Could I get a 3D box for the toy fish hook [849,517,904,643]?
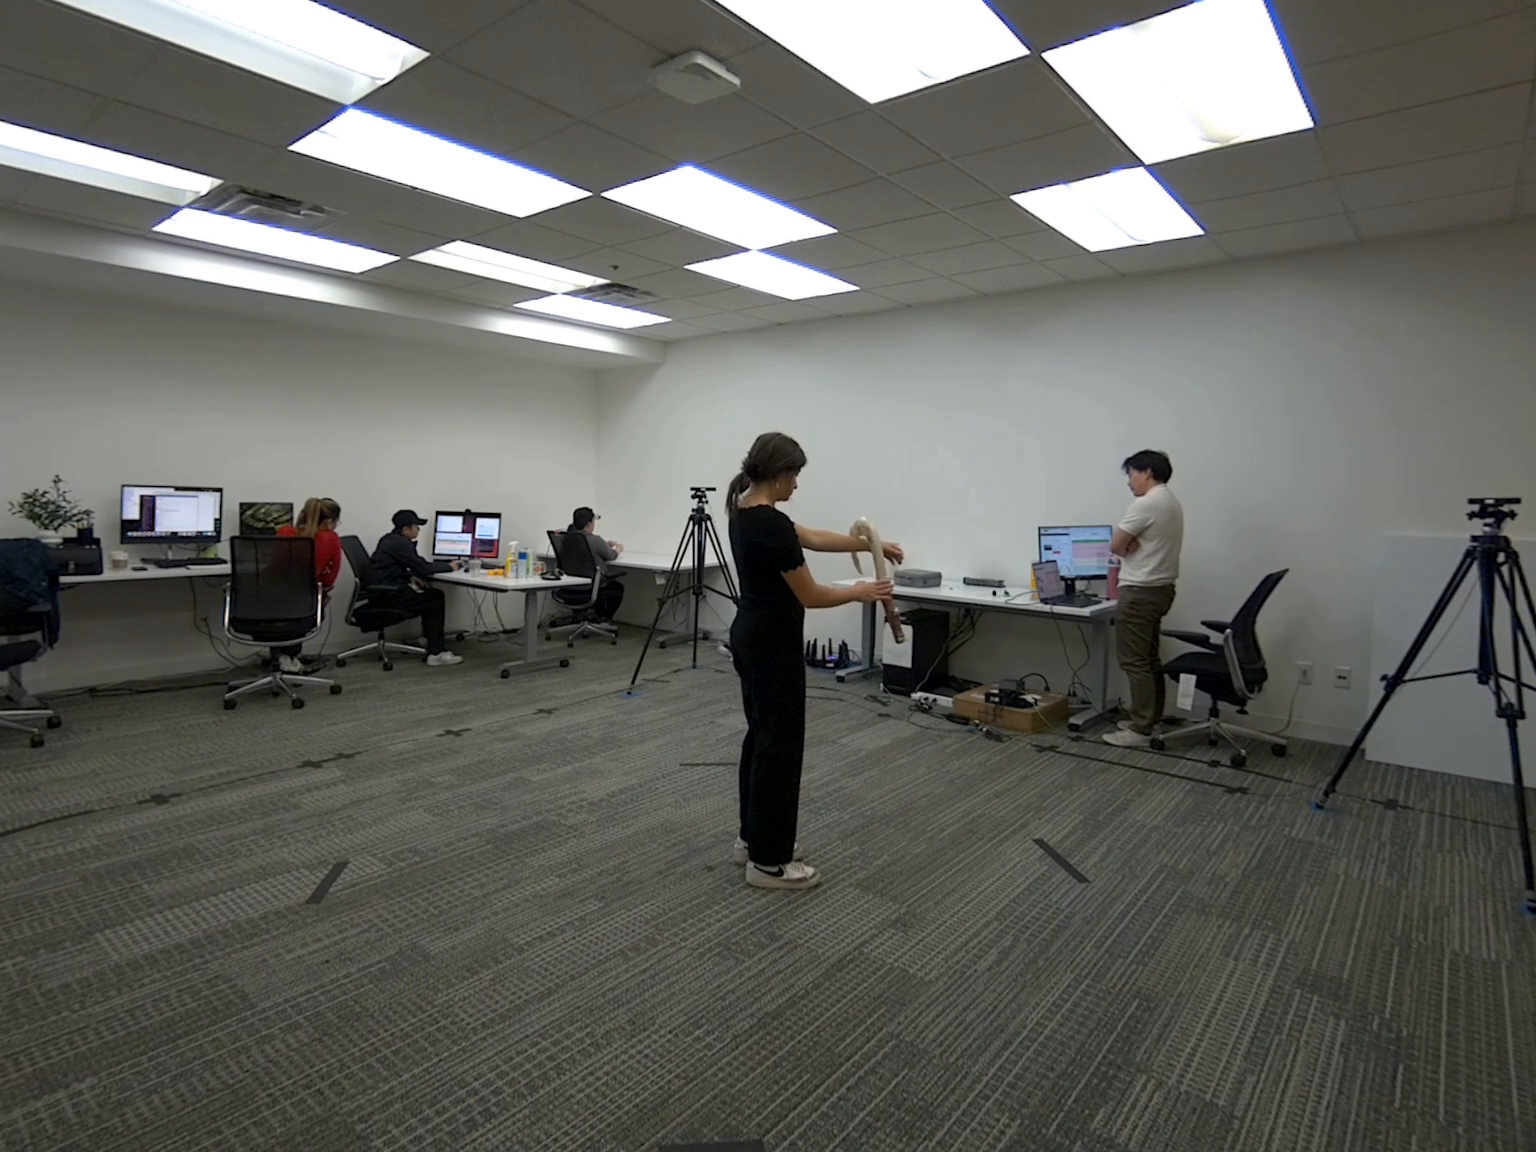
[{"bbox_3d":[0.396,0.033,3.263,0.047,0.515,0.224,-9,-15,-17],"label":"toy fish hook"}]
